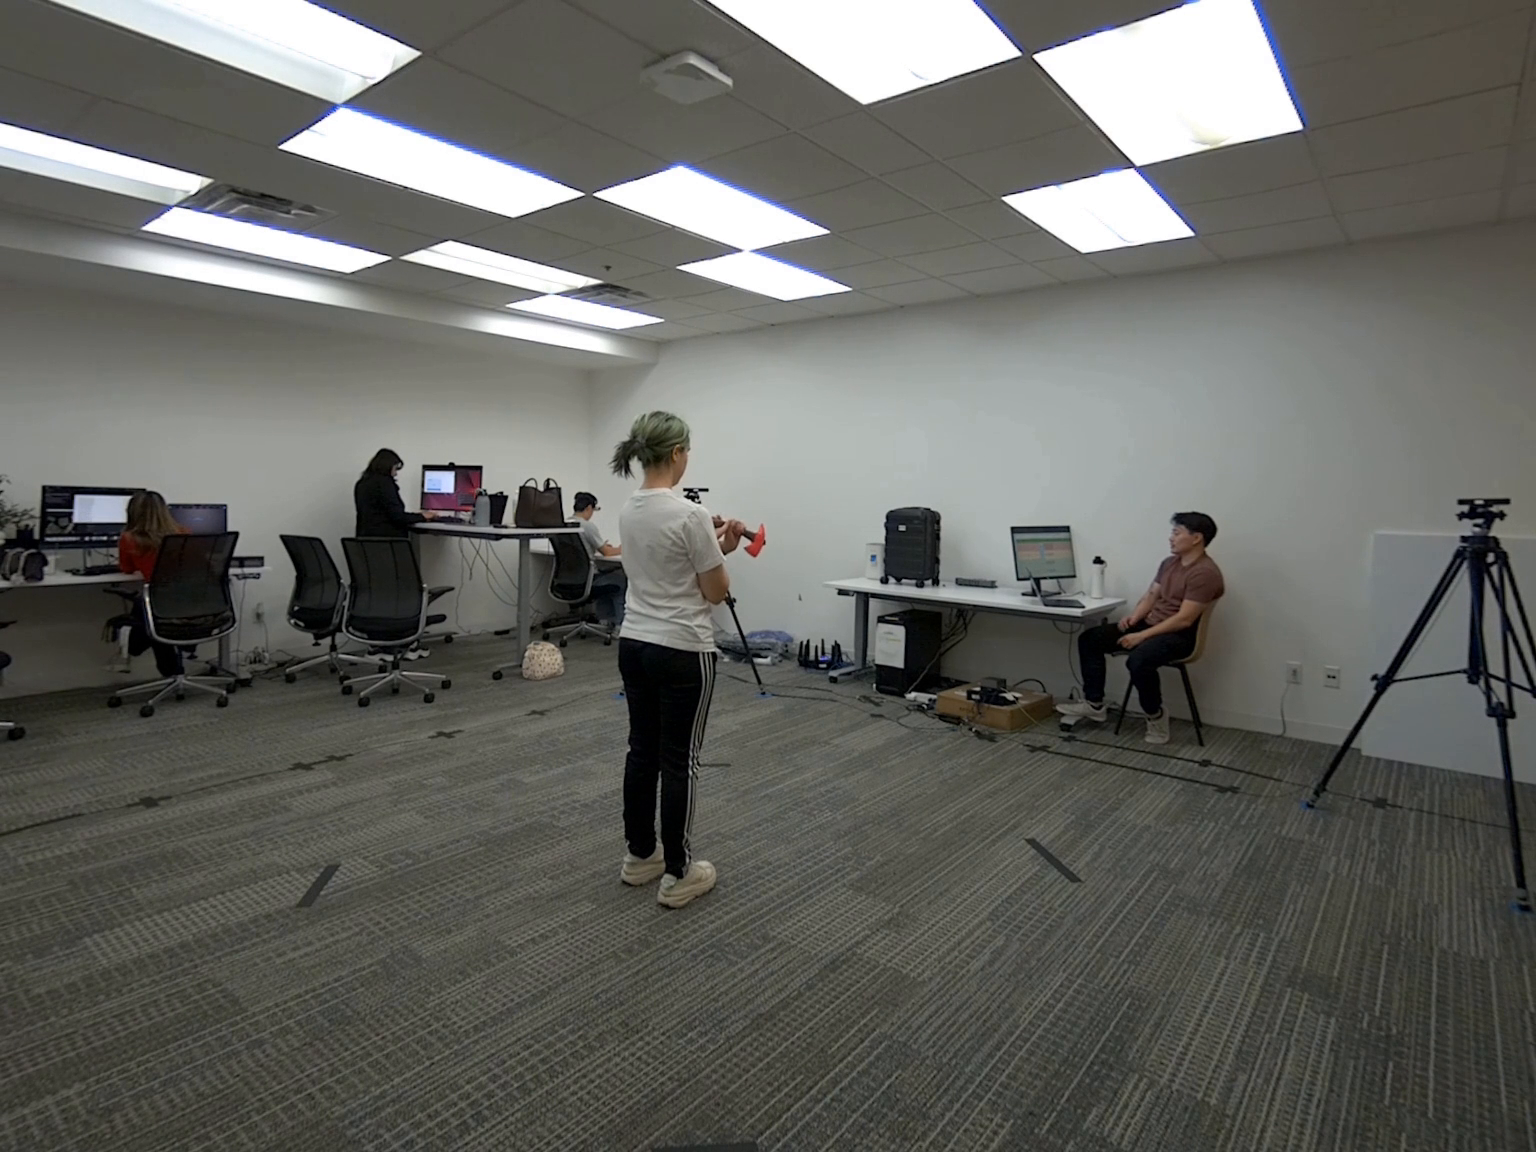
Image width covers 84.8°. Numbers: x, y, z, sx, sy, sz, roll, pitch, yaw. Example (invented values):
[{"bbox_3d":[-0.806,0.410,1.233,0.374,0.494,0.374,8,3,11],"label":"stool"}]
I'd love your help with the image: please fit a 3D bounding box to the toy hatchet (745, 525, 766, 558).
[{"bbox_3d":[-0.137,-0.129,3.091,0.263,0.132,0.030,-2,-5,-26],"label":"toy hatchet"}]
